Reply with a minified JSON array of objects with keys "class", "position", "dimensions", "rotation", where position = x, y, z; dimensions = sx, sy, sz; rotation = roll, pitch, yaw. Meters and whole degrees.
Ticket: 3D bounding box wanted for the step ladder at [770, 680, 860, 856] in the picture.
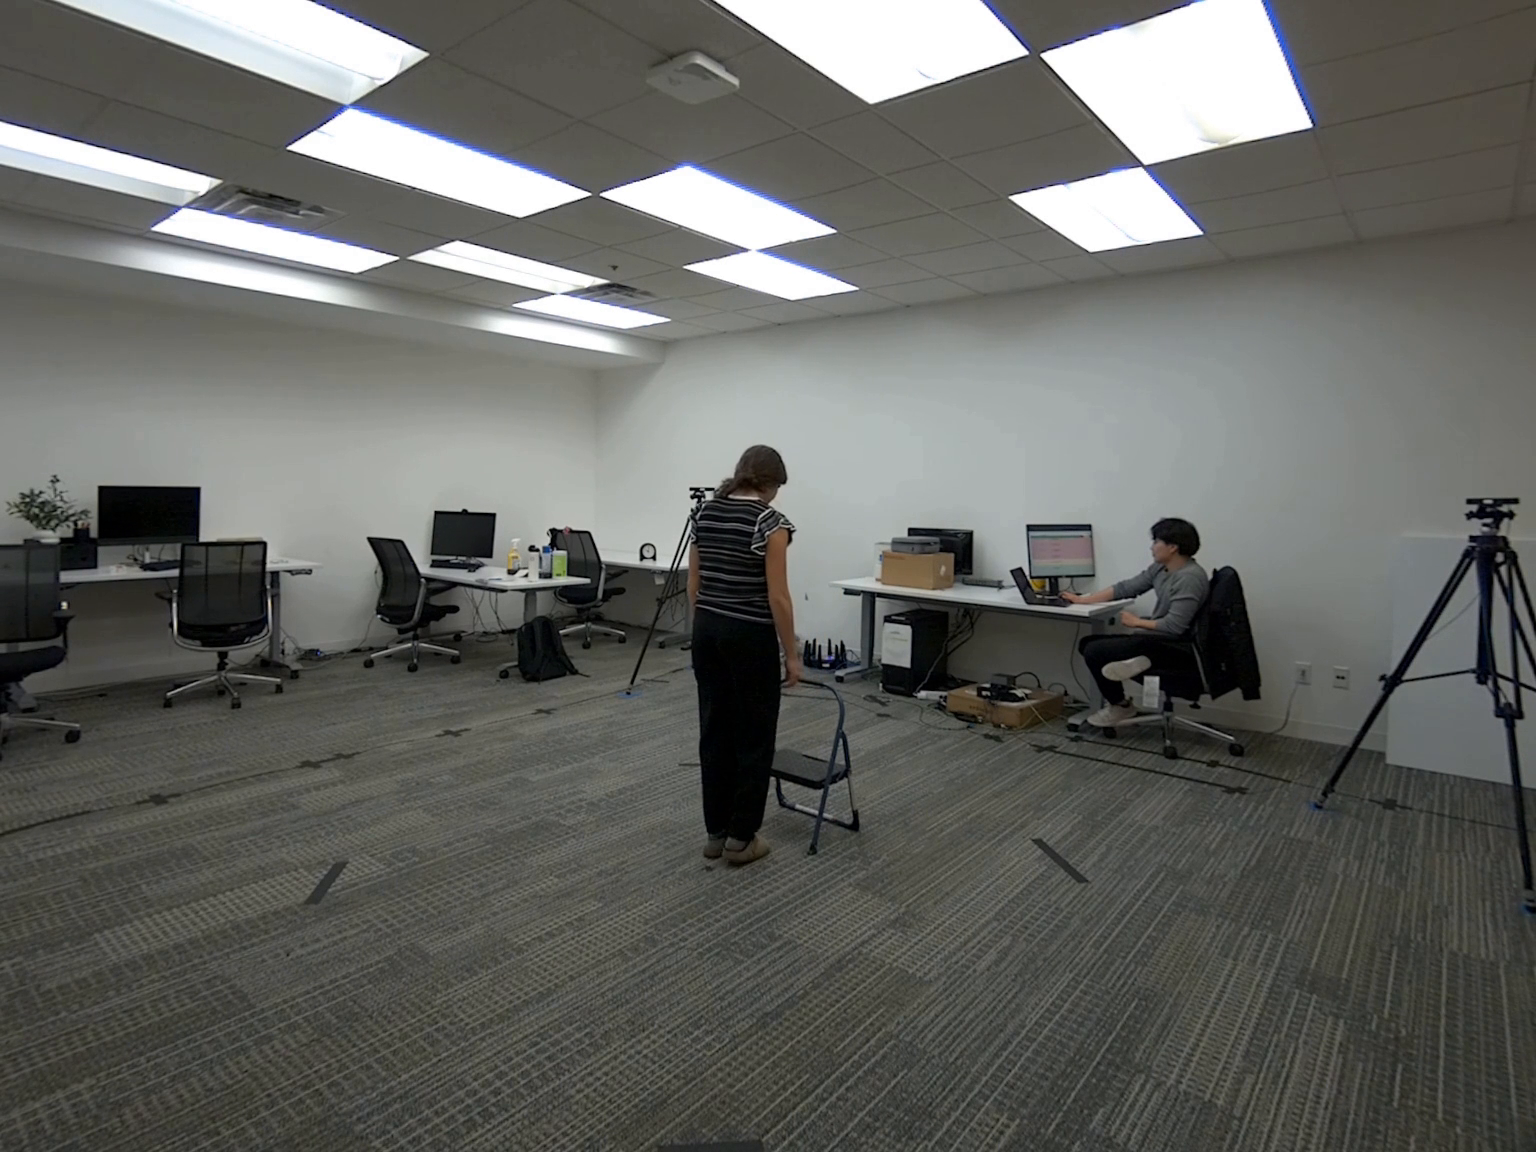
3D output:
[{"class":"step ladder","position":[0.111,0.733,3.493],"dimensions":[0.445,0.604,0.339],"rotation":[4,5,40]}]
